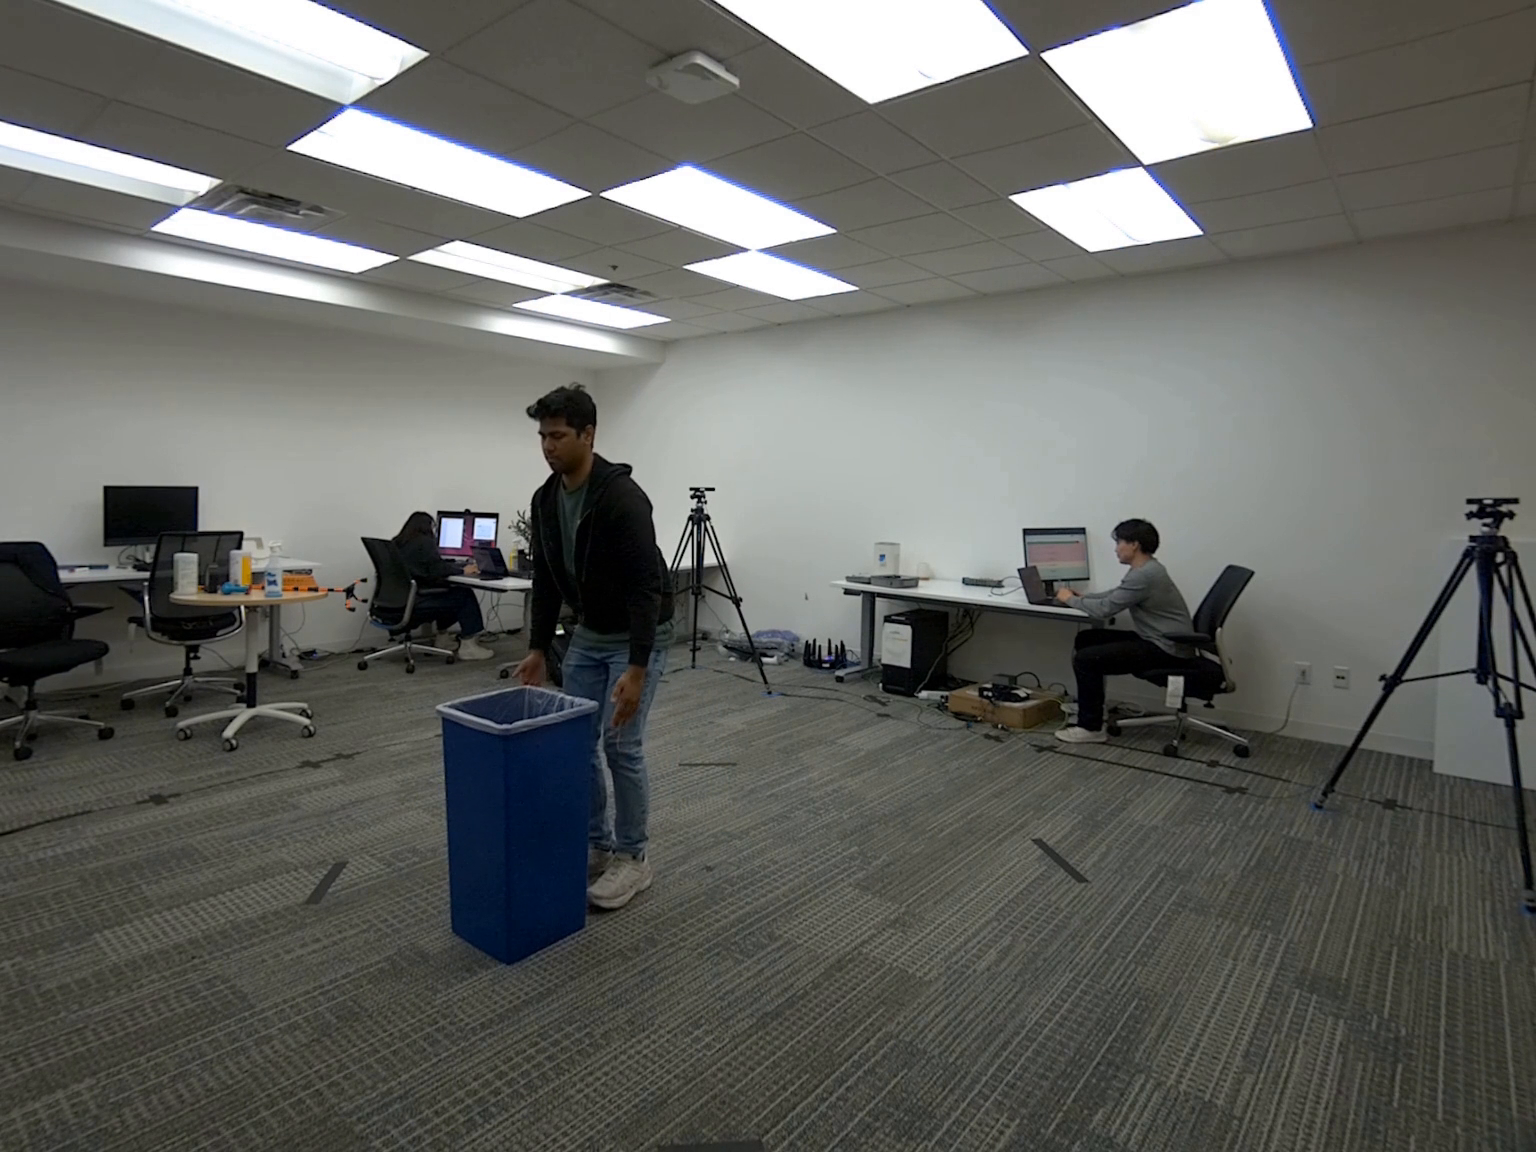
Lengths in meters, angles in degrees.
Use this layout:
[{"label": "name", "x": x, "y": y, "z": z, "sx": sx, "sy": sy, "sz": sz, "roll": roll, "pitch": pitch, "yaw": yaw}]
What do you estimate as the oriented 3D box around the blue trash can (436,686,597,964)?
[{"label": "blue trash can", "x": -0.784, "y": 0.746, "z": 2.636, "sx": 0.390, "sy": 0.712, "sz": 0.363, "roll": 3, "pitch": 4, "yaw": 39}]
